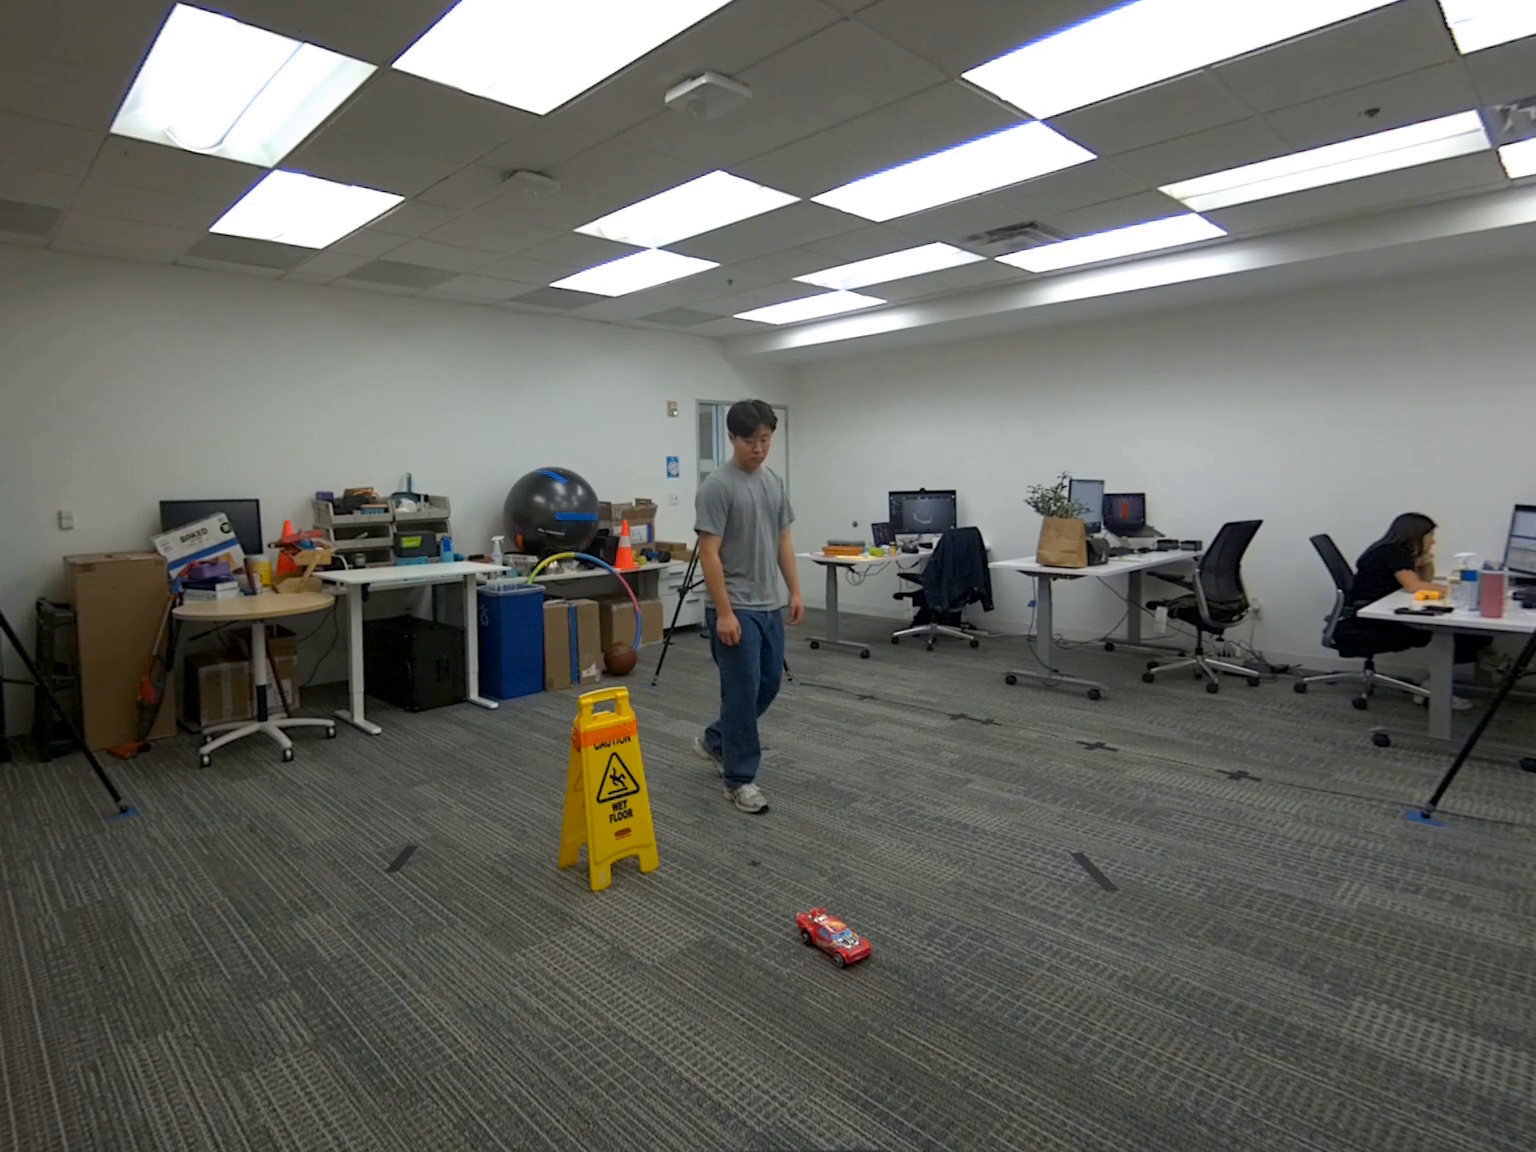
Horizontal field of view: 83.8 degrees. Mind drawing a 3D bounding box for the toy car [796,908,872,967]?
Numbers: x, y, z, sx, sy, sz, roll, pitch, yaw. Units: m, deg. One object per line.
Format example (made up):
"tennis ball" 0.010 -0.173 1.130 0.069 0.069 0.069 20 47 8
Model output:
"toy car" 0.192 1.076 2.543 0.127 0.082 0.264 -6 19 -34
